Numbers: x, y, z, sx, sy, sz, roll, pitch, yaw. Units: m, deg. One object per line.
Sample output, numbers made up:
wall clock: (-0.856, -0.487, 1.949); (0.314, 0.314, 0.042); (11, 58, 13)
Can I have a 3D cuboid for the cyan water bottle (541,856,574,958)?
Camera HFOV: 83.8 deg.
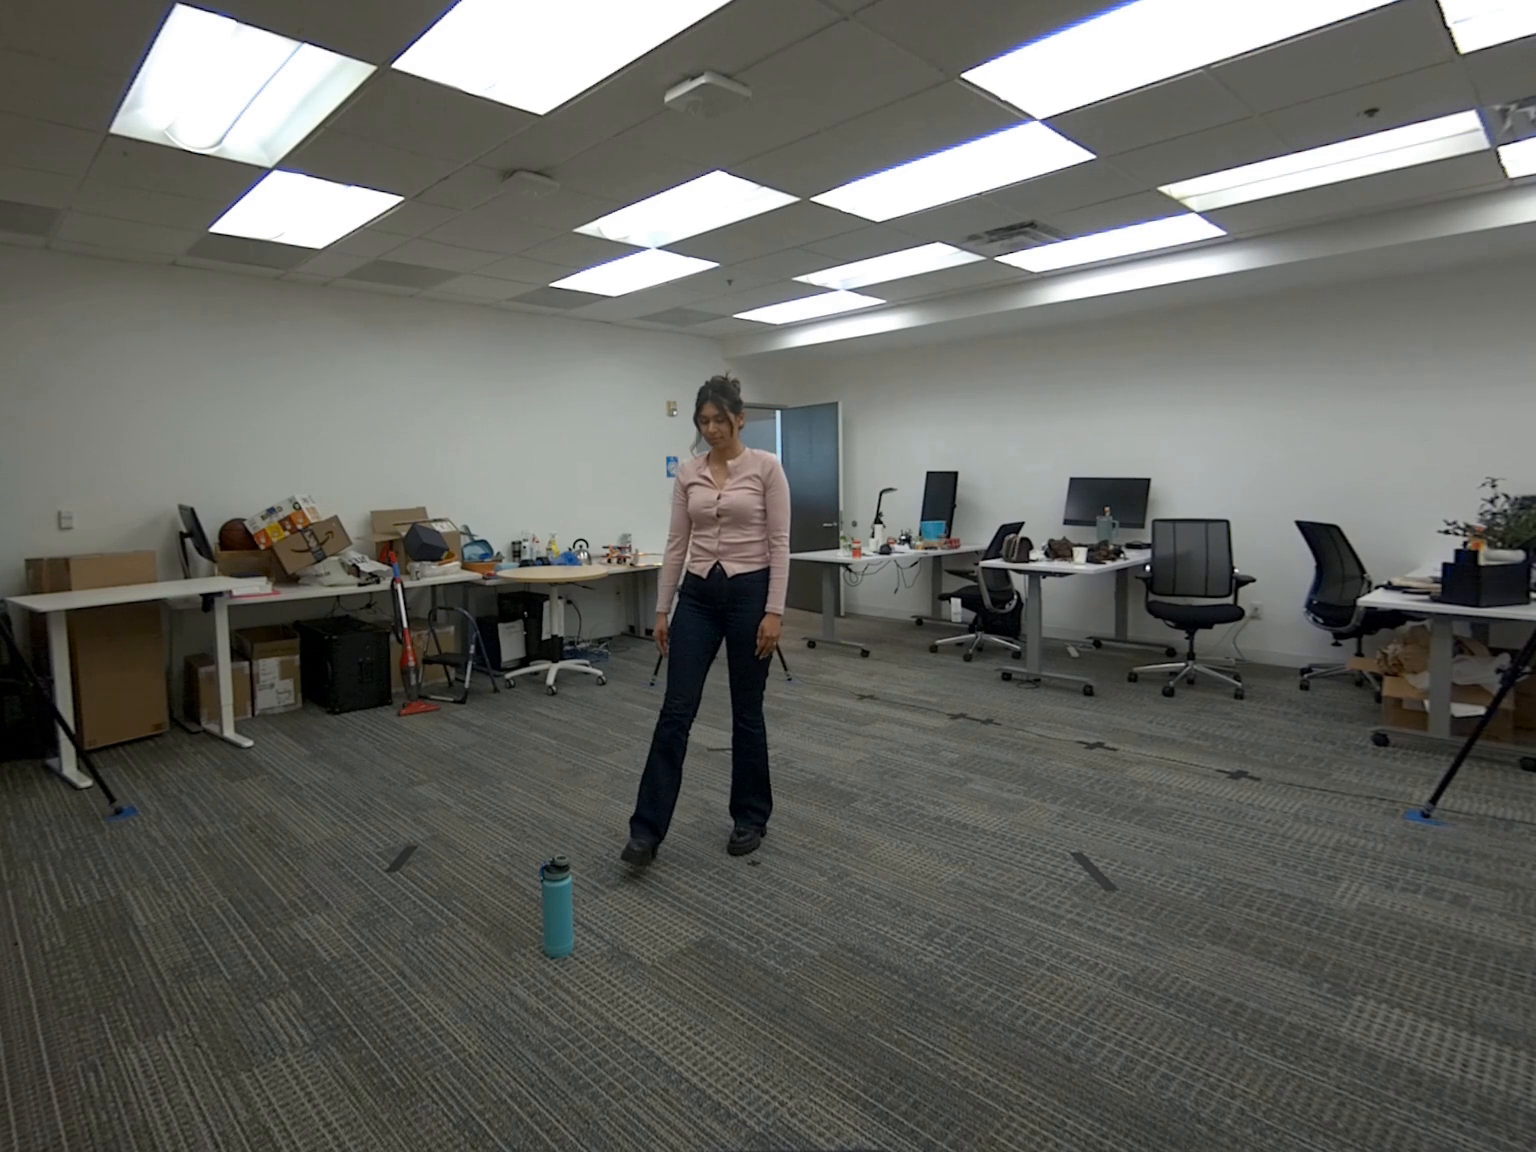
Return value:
cyan water bottle: (-0.627, 0.983, 2.547); (0.092, 0.282, 0.093); (-3, 6, -1)
